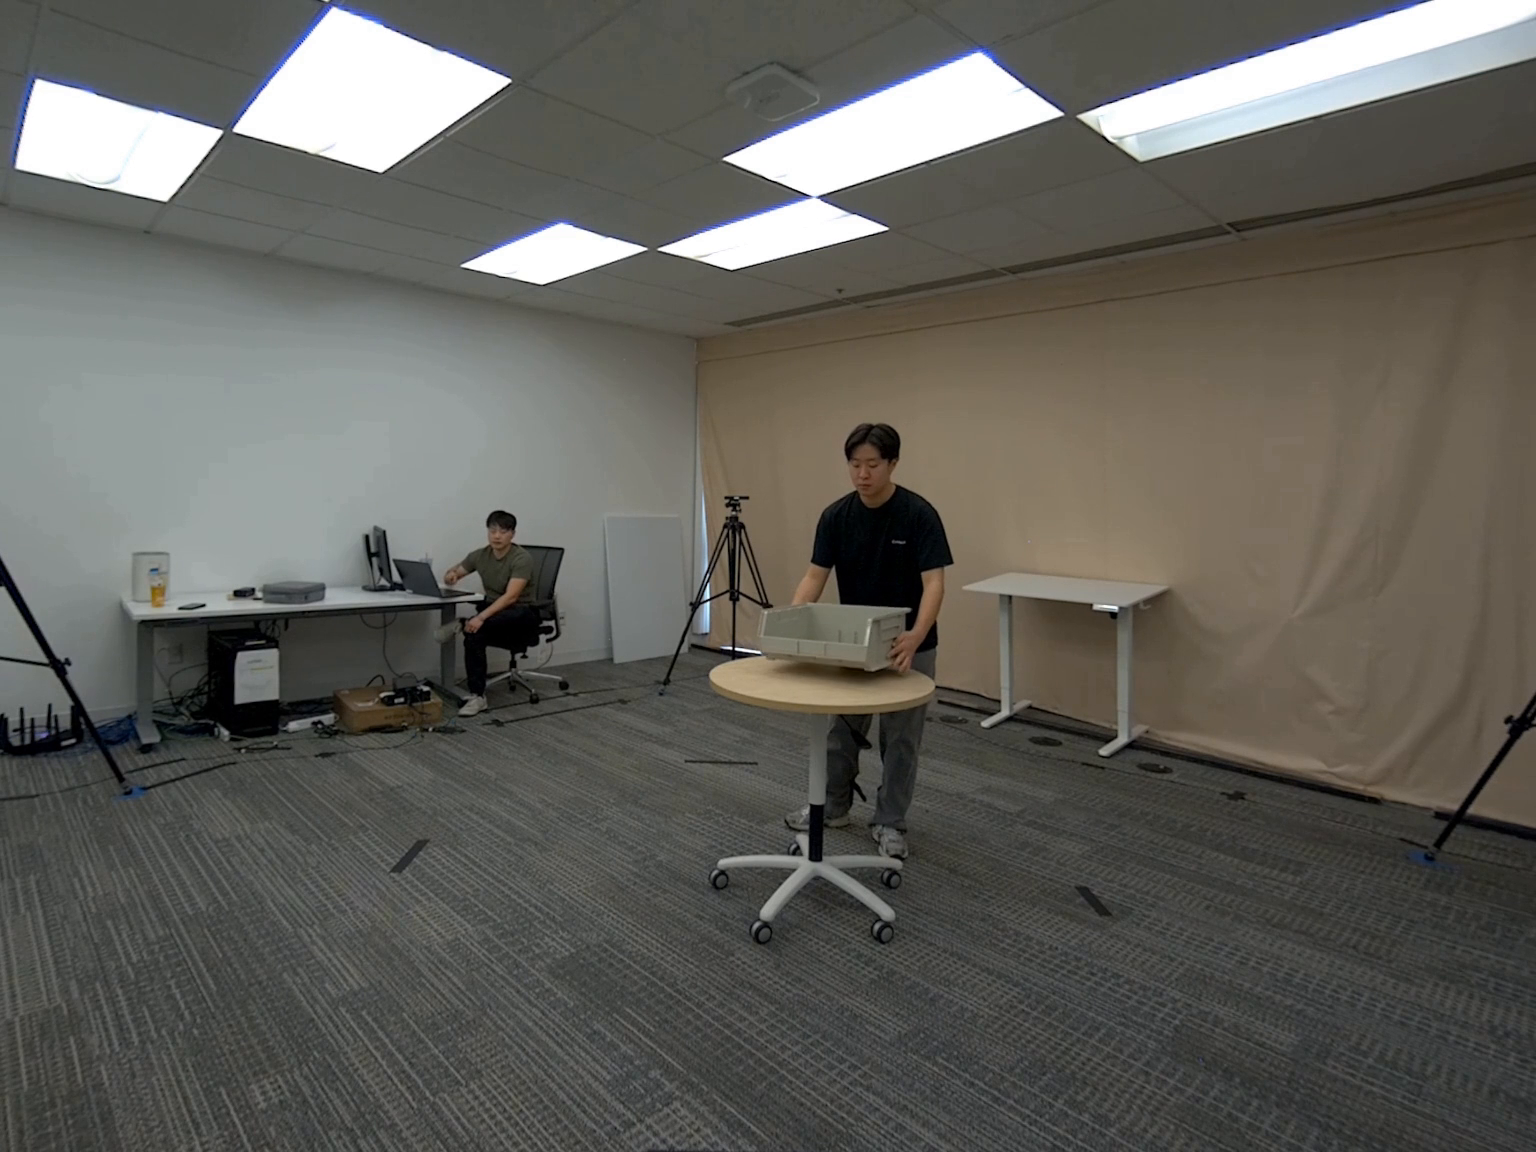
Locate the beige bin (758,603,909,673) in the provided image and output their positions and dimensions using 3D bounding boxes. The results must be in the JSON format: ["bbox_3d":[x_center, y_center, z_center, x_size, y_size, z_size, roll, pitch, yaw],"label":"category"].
[{"bbox_3d":[0.232,0.211,2.971,0.432,0.189,0.369,1,1,32],"label":"beige bin"}]
